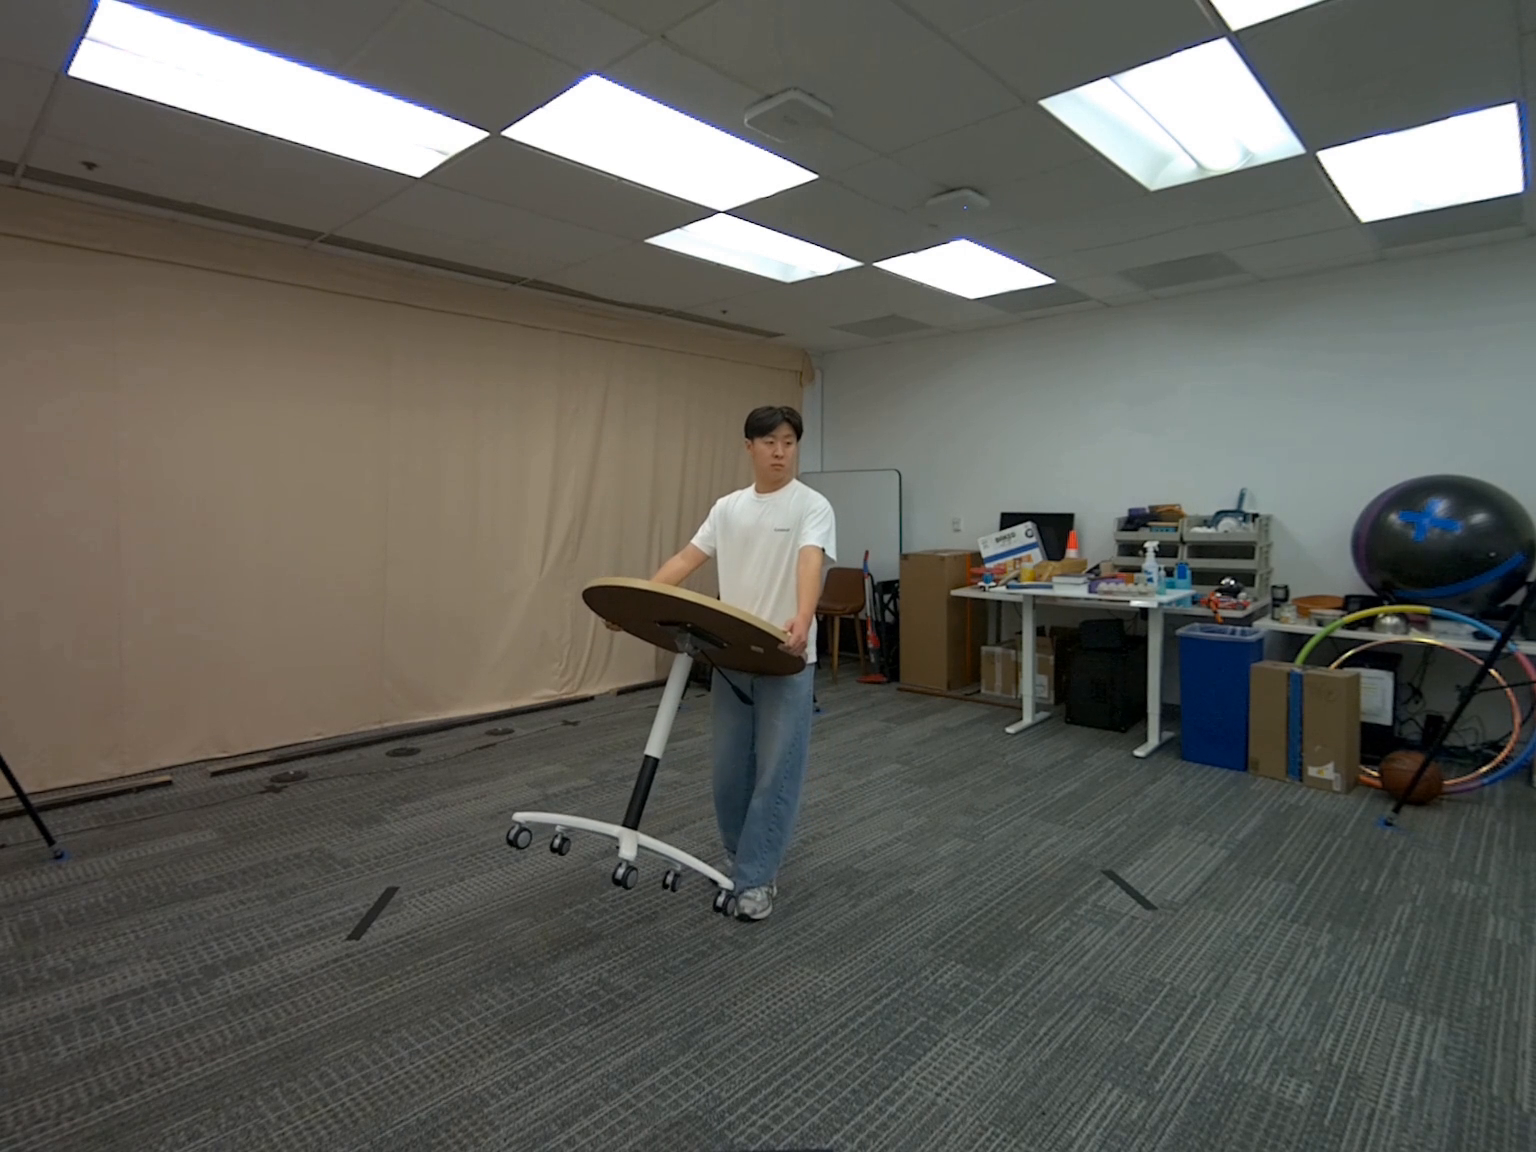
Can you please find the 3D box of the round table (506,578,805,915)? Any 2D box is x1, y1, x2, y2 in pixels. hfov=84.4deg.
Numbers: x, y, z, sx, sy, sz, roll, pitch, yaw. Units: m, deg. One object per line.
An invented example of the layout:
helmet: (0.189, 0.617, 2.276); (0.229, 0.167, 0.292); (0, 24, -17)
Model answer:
round table: (-0.343, 0.537, 2.631); (0.768, 0.798, 0.756); (16, -18, 3)
